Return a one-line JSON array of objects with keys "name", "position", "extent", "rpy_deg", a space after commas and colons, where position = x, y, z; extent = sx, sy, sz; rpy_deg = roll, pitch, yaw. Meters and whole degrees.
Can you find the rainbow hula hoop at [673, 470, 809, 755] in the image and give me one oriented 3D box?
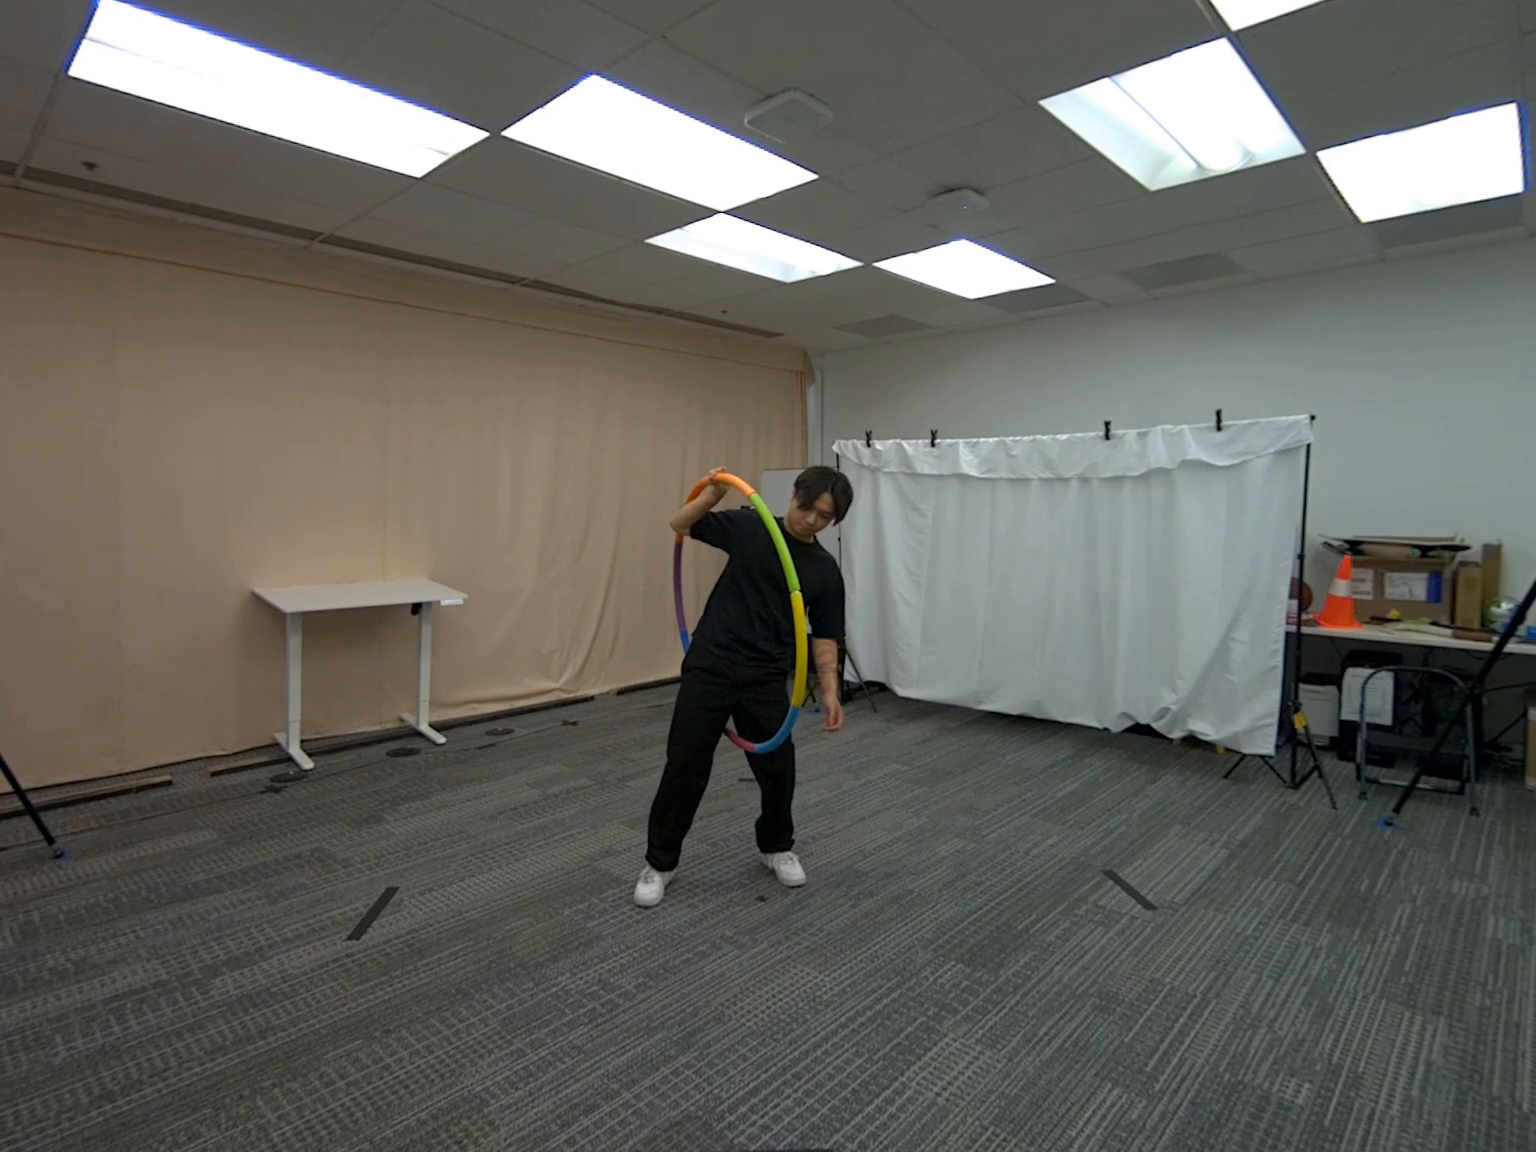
[{"name": "rainbow hula hoop", "position": [-0.131, 0.122, 3.008], "extent": [0.035, 0.975, 1.006], "rpy_deg": [-6, 6, -28]}]
